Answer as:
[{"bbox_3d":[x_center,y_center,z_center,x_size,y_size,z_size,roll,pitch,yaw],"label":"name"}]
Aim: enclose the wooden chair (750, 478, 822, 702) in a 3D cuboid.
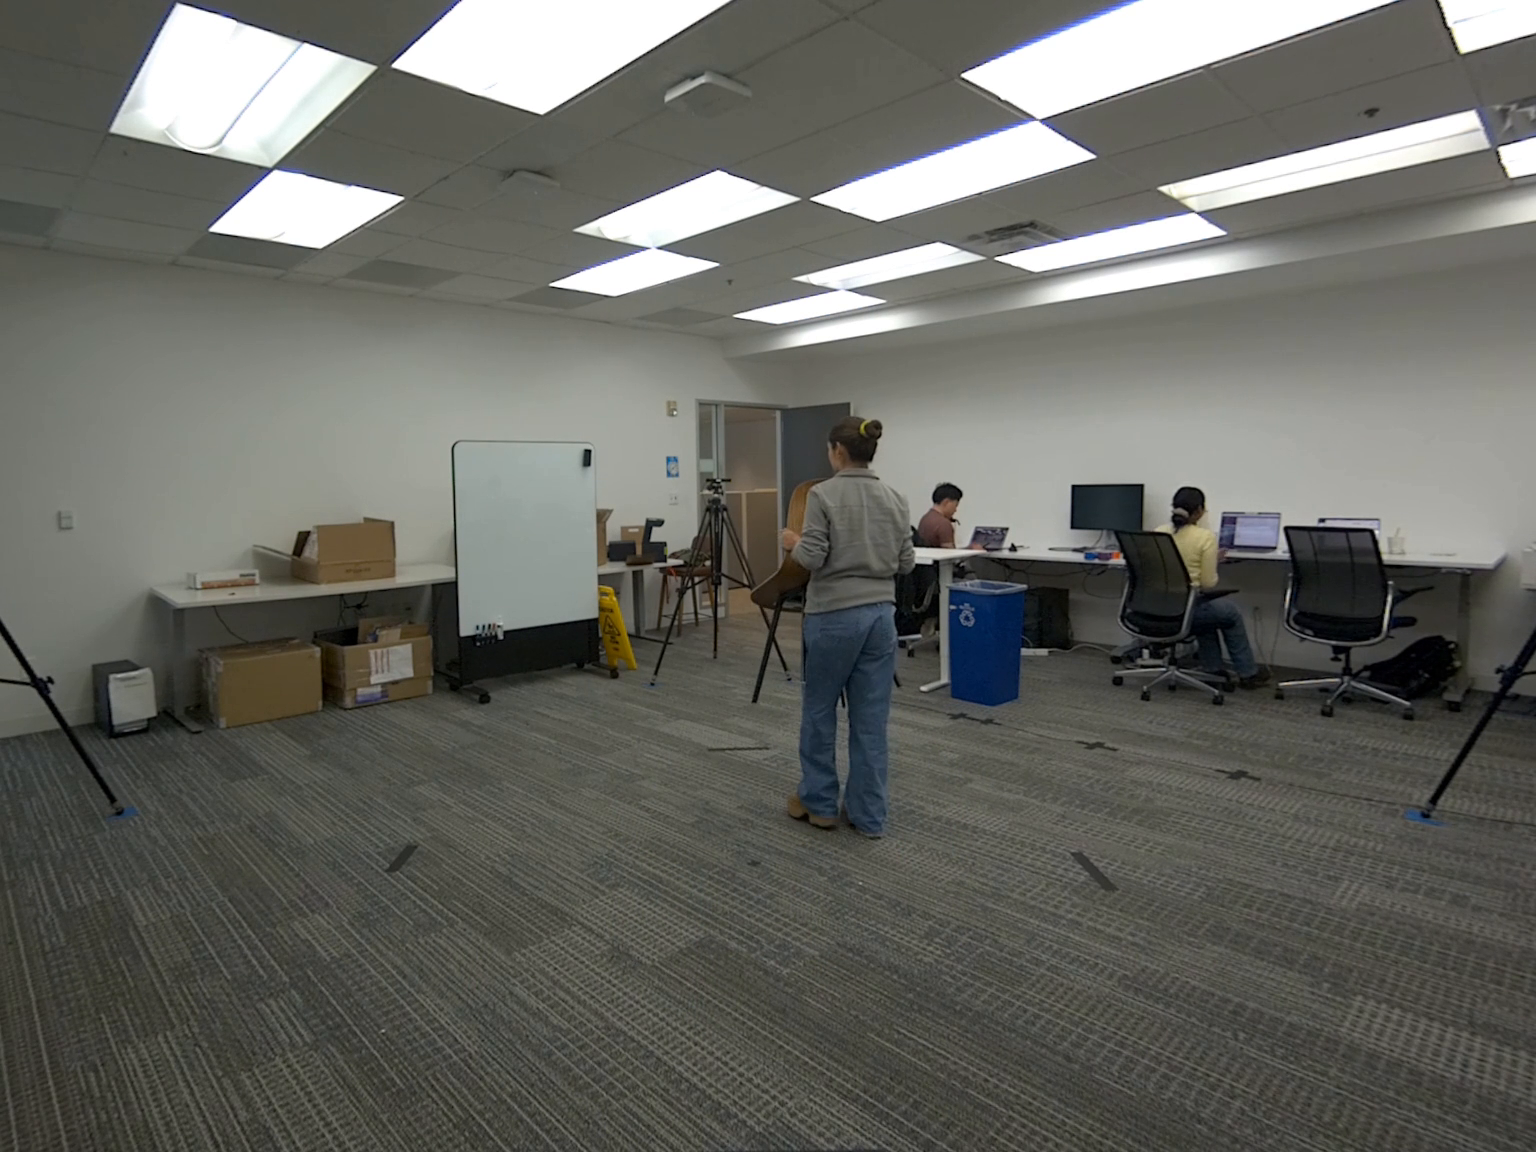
[{"bbox_3d":[0.197,0.096,3.628,0.467,0.892,0.527,5,-19,-25],"label":"wooden chair"}]
